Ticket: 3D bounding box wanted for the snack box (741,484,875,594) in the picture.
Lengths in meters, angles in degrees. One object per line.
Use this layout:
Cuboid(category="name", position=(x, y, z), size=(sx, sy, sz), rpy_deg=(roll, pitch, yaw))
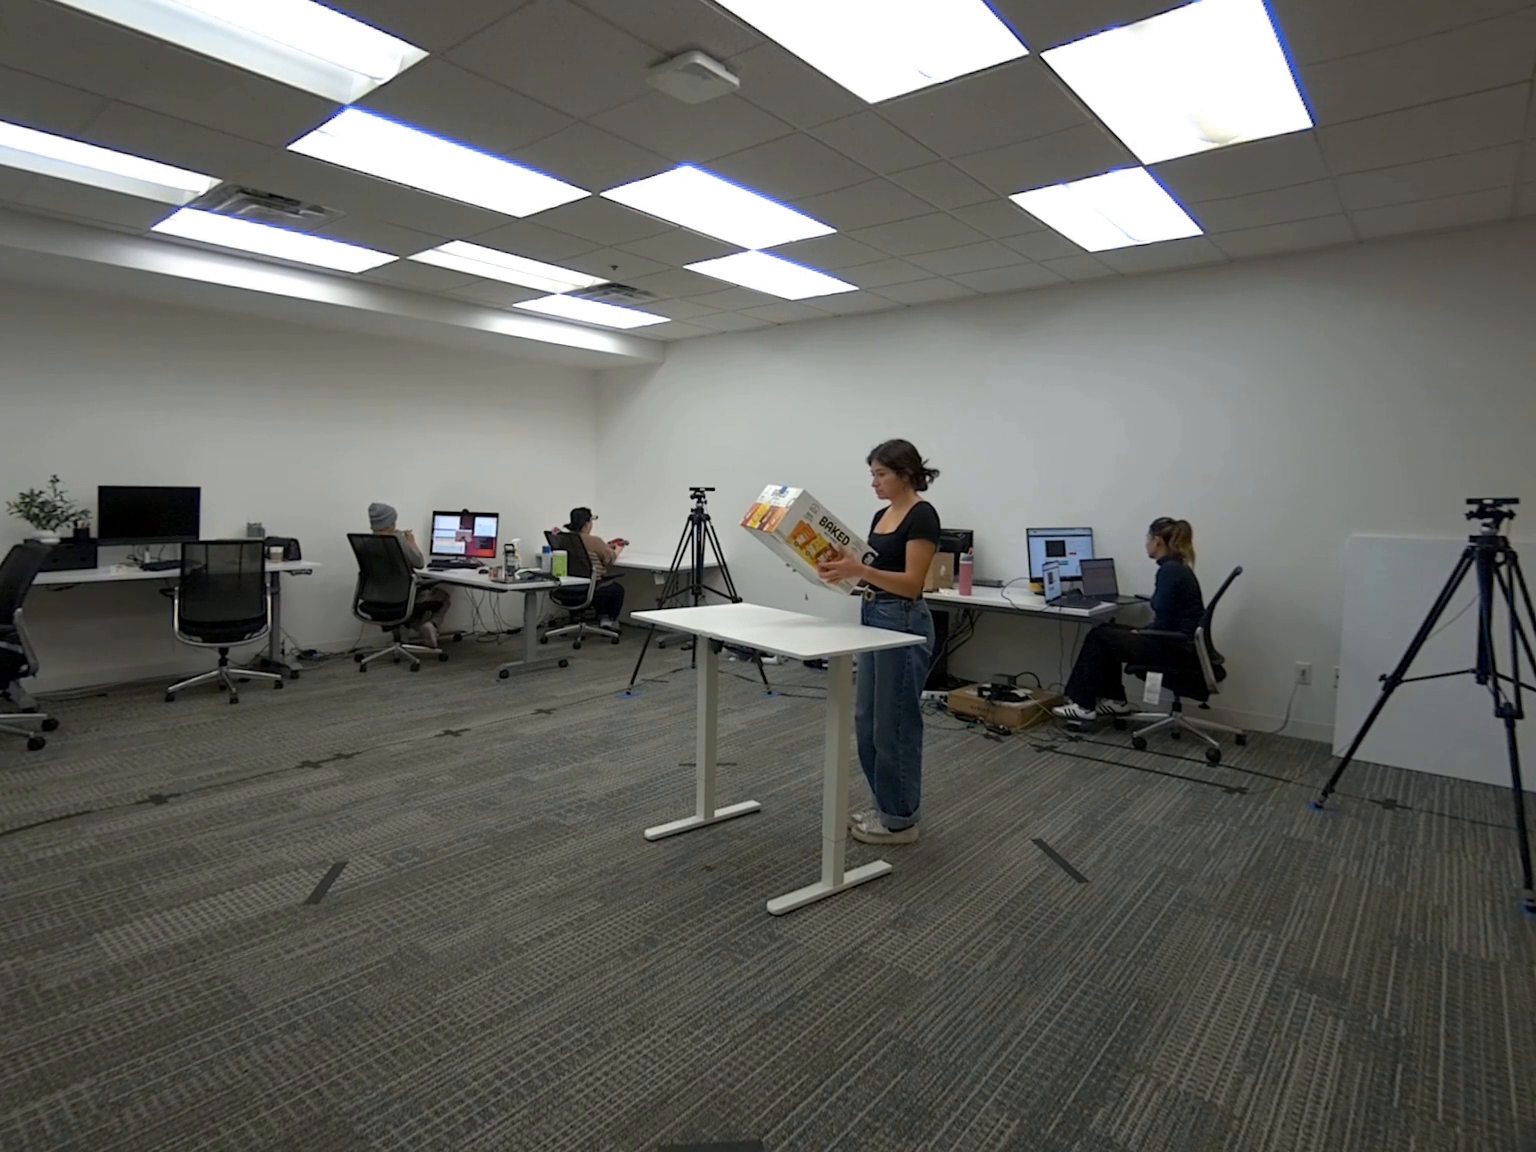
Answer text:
Cuboid(category="snack box", position=(0.140, -0.147, 3.288), size=(0.394, 0.206, 0.349), rpy_deg=(39, -7, -21))
